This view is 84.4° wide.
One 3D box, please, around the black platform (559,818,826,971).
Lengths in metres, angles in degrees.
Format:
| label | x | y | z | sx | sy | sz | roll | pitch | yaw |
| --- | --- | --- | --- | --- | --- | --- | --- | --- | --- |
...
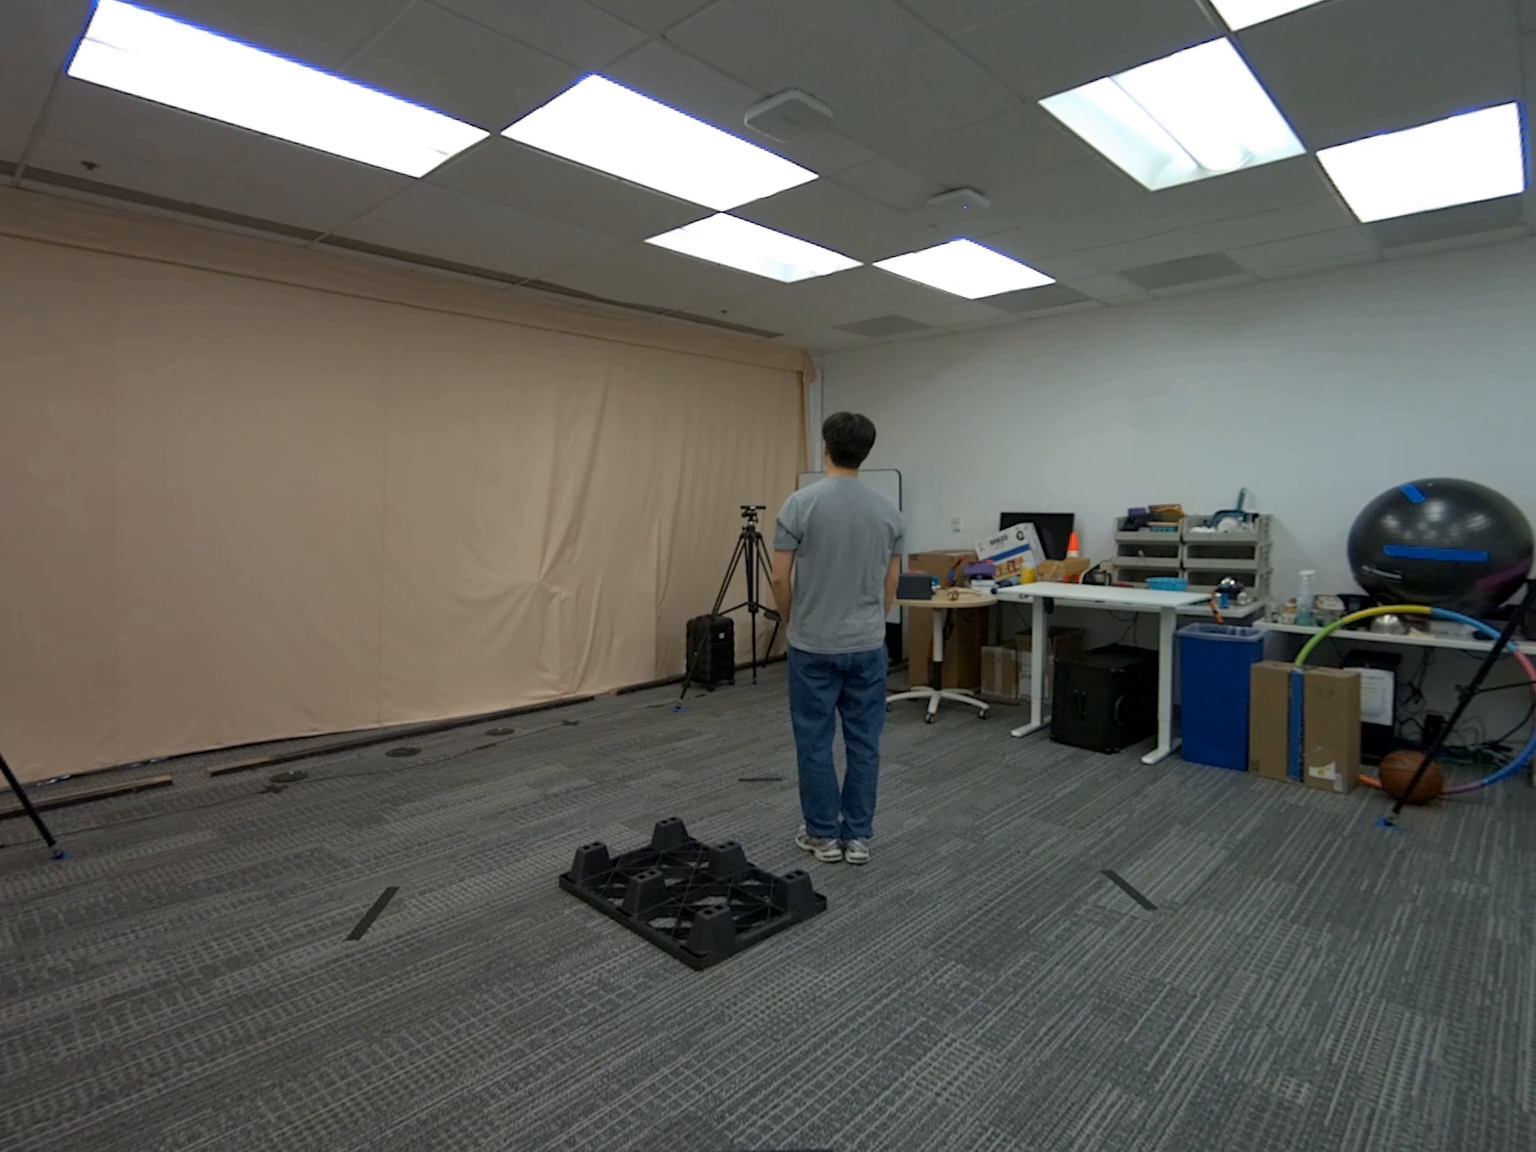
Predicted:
| label | x | y | z | sx | sy | sz | roll | pitch | yaw |
| --- | --- | --- | --- | --- | --- | --- | --- | --- | --- |
| black platform | -0.285 | 1.079 | 2.995 | 0.586 | 0.143 | 0.832 | -4 | 6 | -44 |
